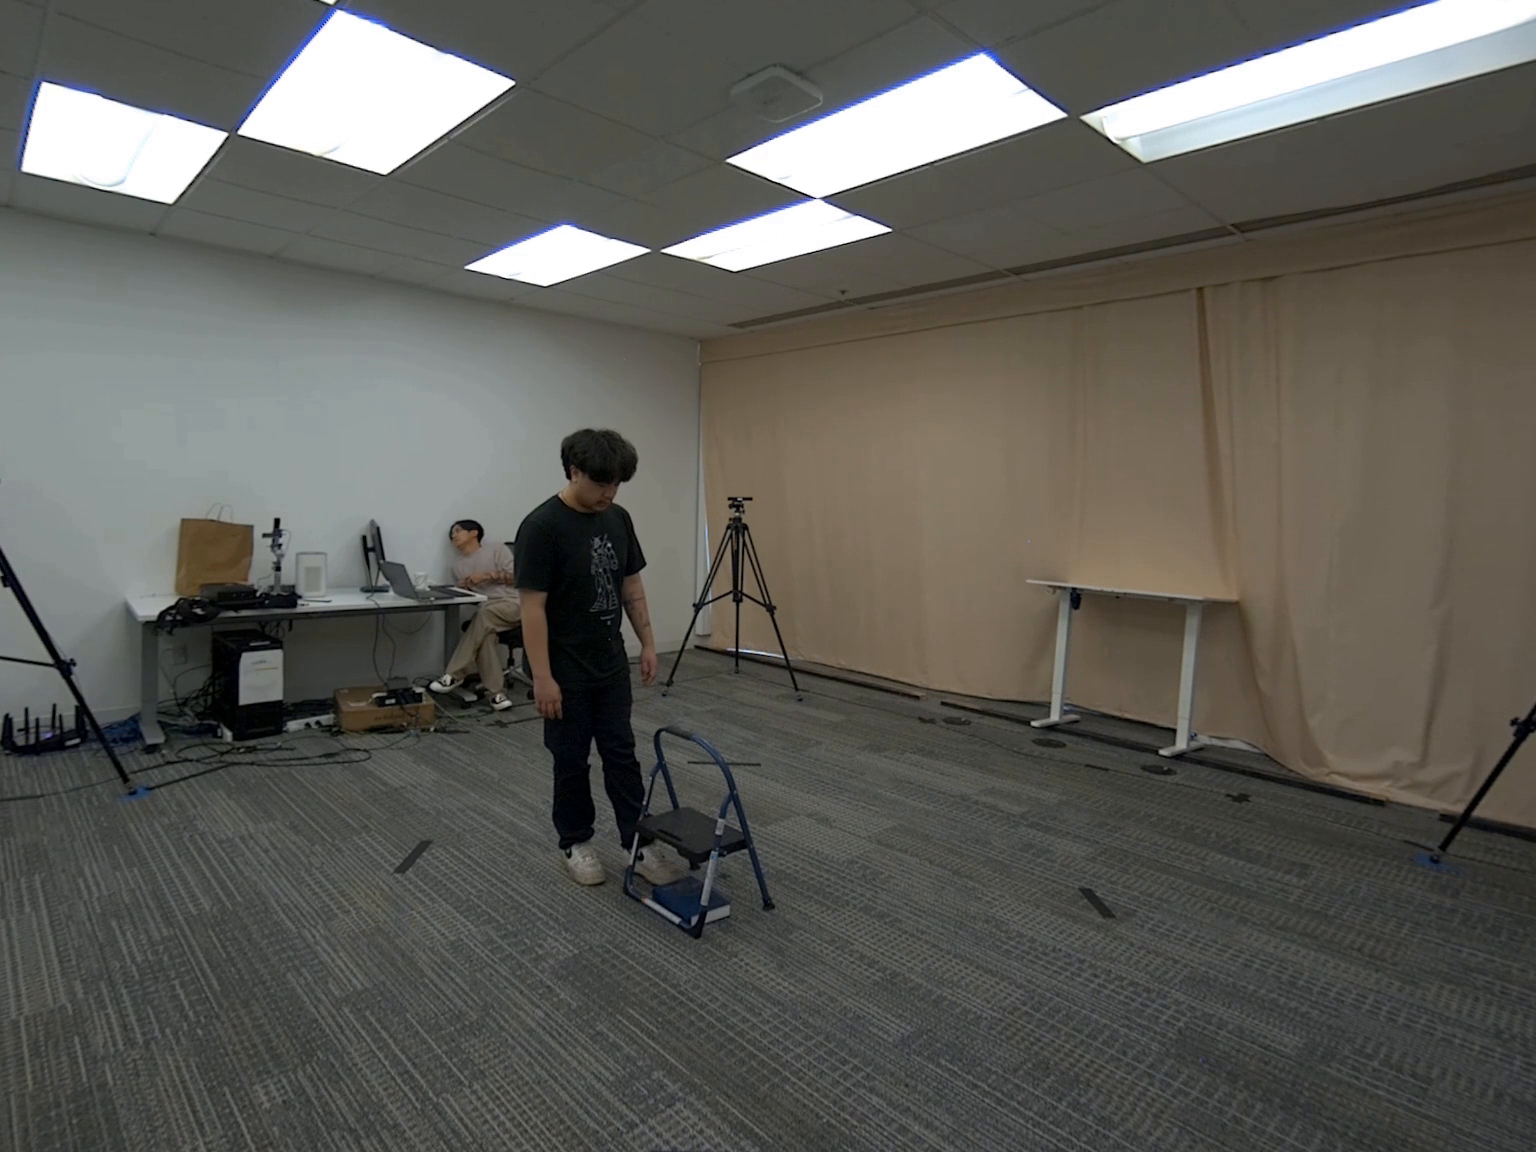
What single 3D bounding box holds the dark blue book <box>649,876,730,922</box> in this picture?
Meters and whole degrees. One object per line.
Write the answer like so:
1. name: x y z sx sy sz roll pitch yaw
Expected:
1. dark blue book: -0.269 1.105 2.857 0.160 0.045 0.251 -4 6 -38
